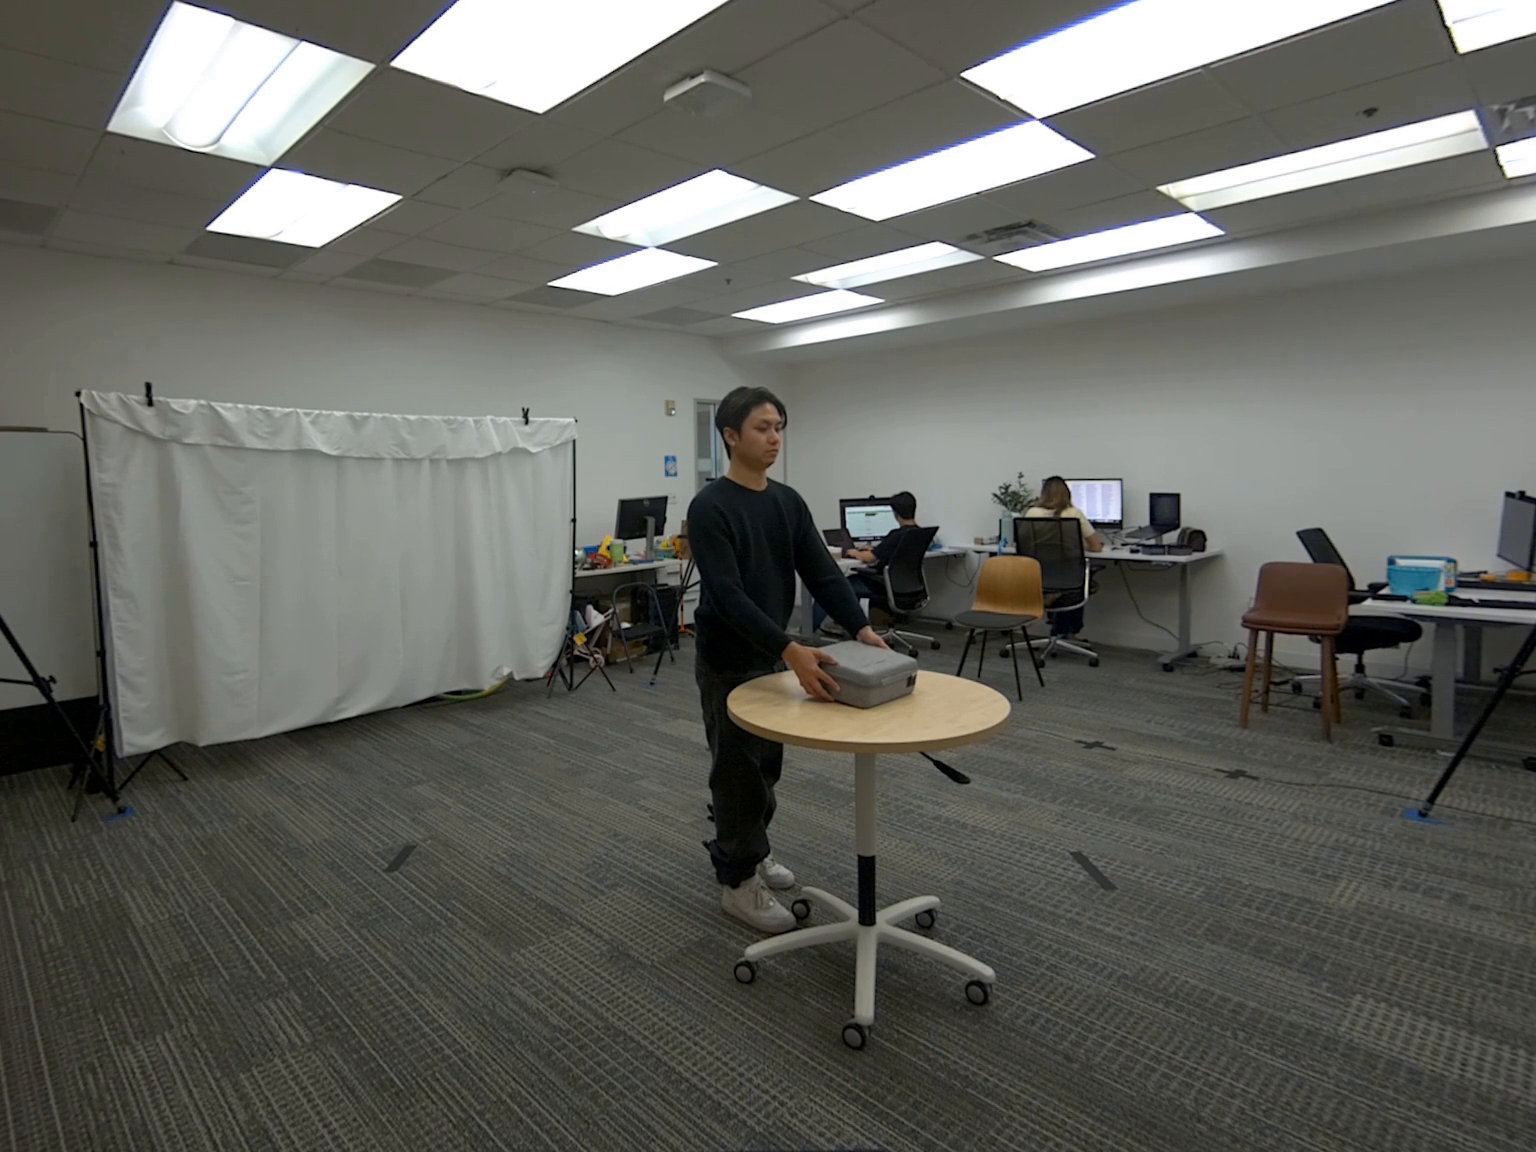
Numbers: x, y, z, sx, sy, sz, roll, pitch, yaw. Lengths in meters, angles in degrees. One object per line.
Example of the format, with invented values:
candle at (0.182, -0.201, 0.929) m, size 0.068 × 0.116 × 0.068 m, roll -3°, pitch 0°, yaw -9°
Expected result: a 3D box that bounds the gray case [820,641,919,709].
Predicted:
gray case at (0.262, 0.277, 2.390) m, size 0.269 × 0.103 × 0.251 m, roll 11°, pitch 14°, yaw 40°
